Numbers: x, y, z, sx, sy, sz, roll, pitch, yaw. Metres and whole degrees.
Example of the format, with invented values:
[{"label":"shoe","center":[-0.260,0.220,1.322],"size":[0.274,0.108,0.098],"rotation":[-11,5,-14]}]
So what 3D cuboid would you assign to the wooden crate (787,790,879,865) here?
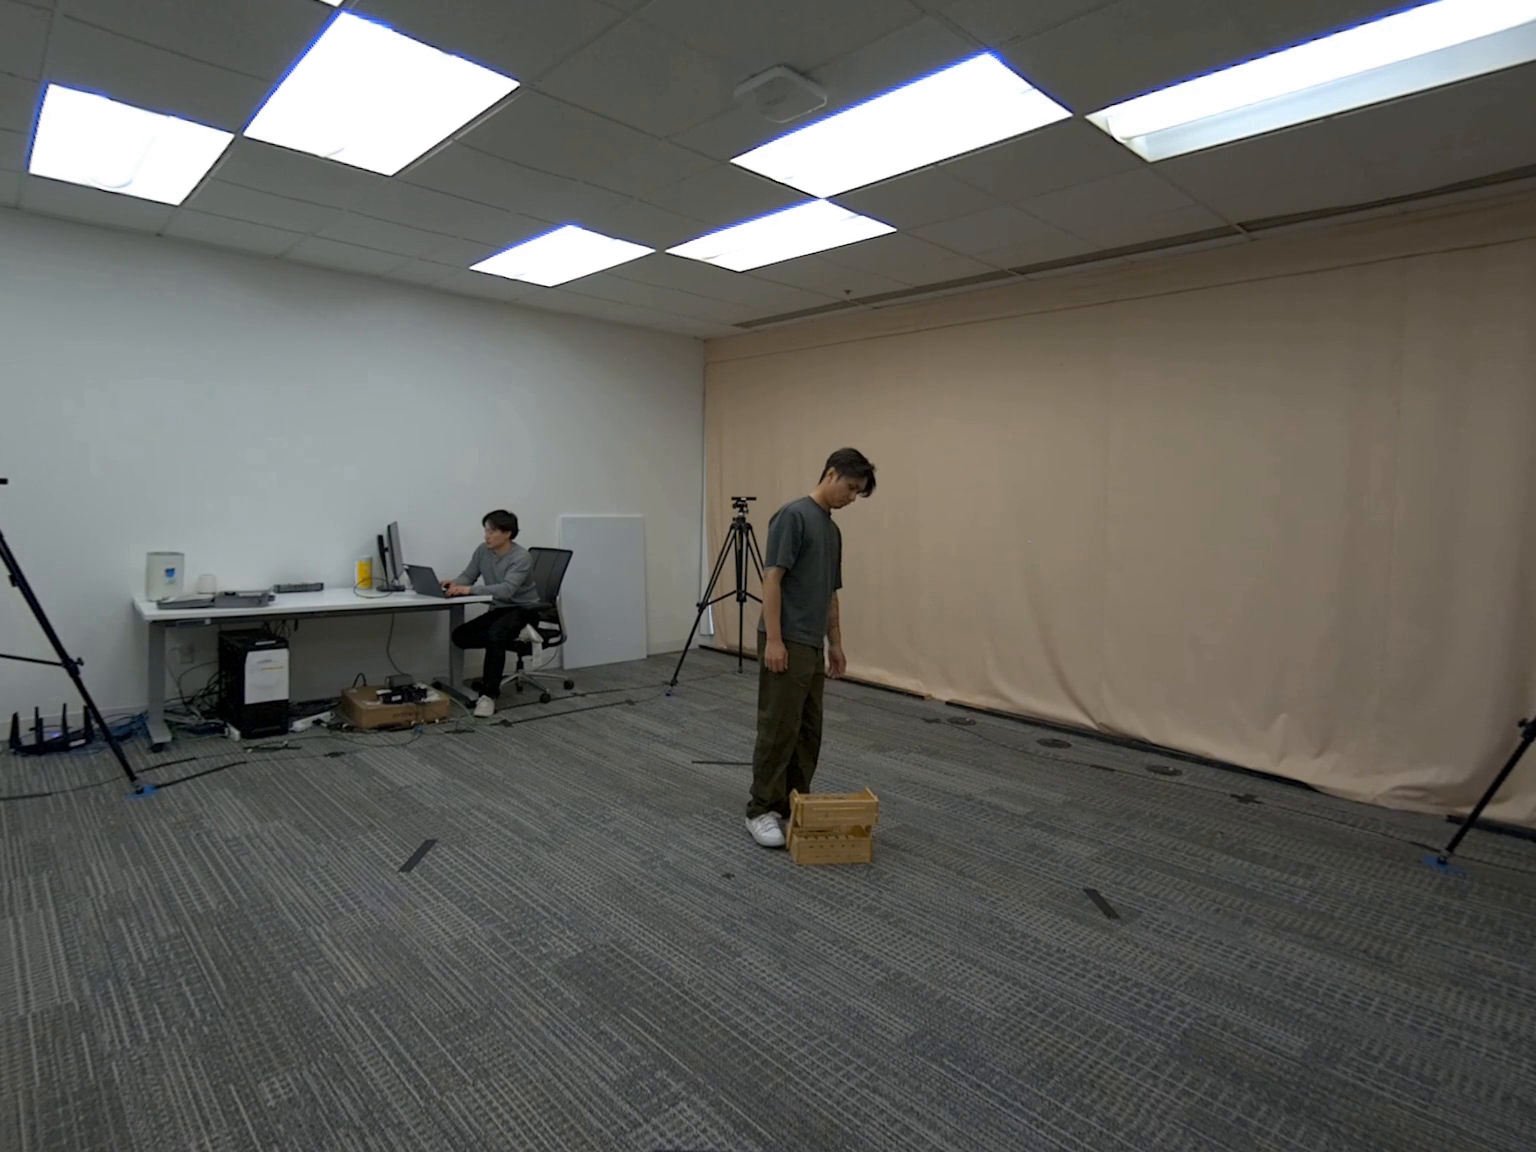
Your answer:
[{"label":"wooden crate","center":[0.237,0.960,3.325],"size":[0.322,0.272,0.305],"rotation":[1,4,-8]}]
